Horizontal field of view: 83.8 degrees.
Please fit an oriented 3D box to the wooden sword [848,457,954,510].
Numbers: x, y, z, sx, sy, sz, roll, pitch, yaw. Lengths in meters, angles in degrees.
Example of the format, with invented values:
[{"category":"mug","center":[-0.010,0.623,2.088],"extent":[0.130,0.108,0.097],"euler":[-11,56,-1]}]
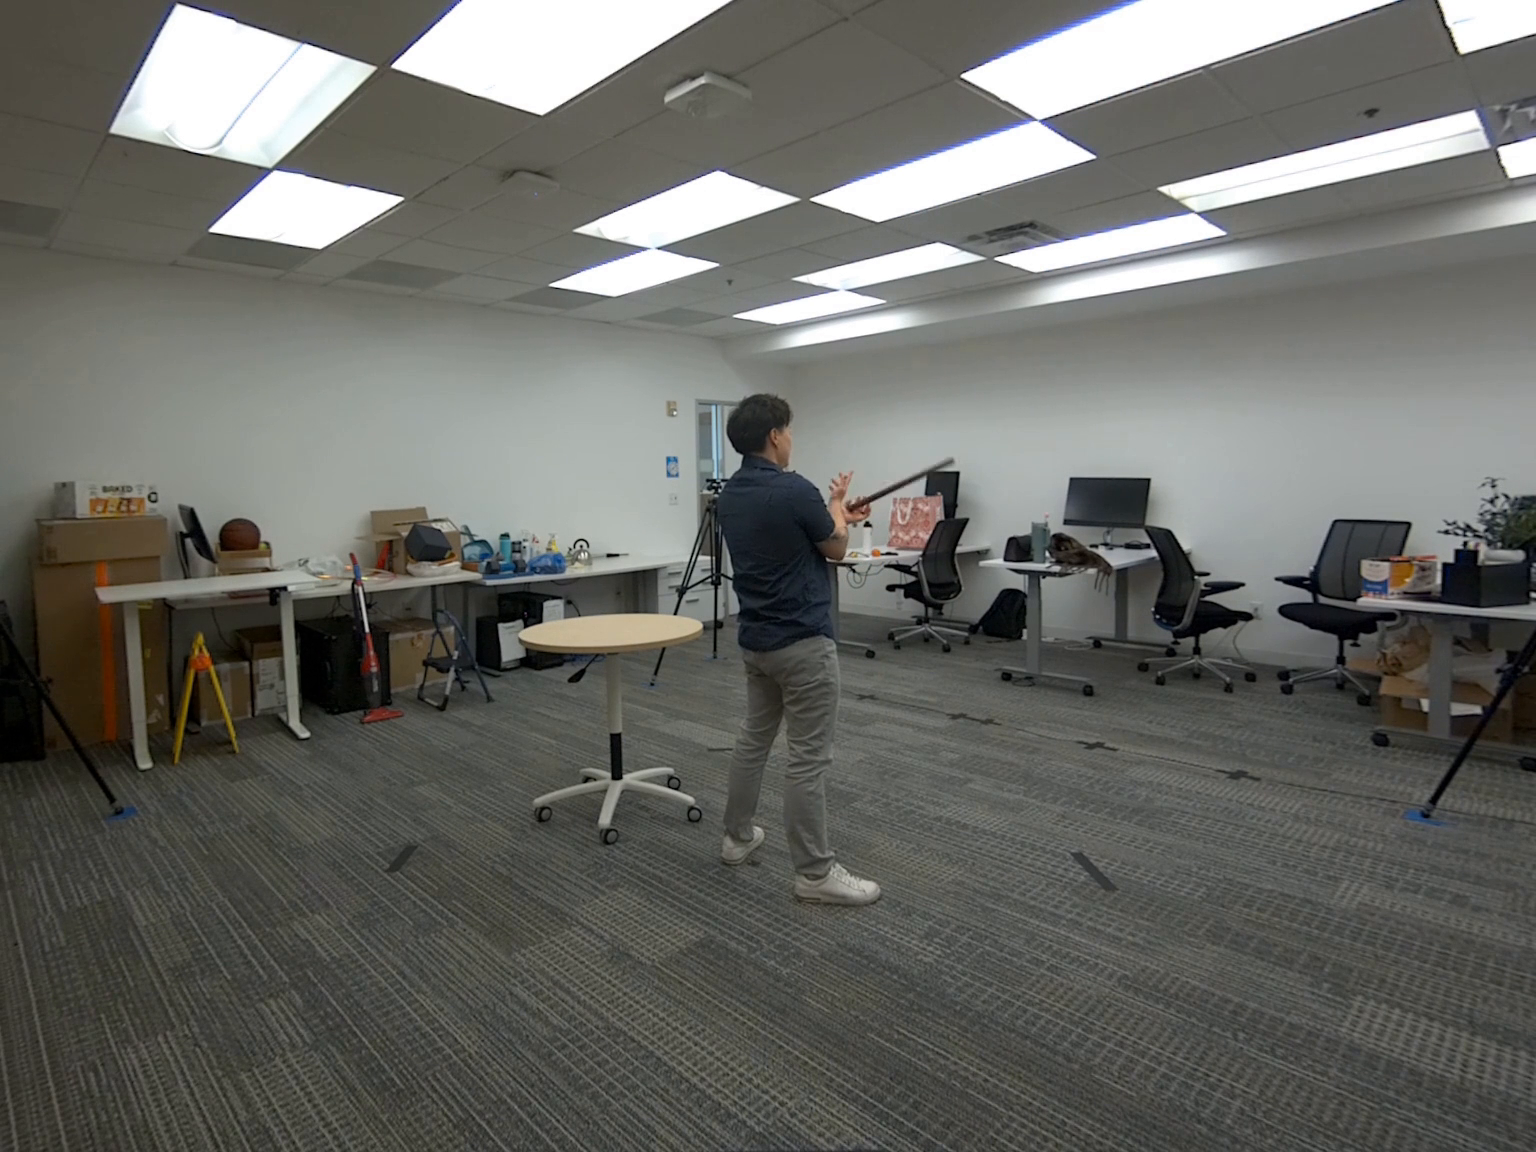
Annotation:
[{"category":"wooden sword","center":[0.344,-0.268,3.195],"extent":[0.050,0.024,1.037],"euler":[-12,-6,-31]}]
